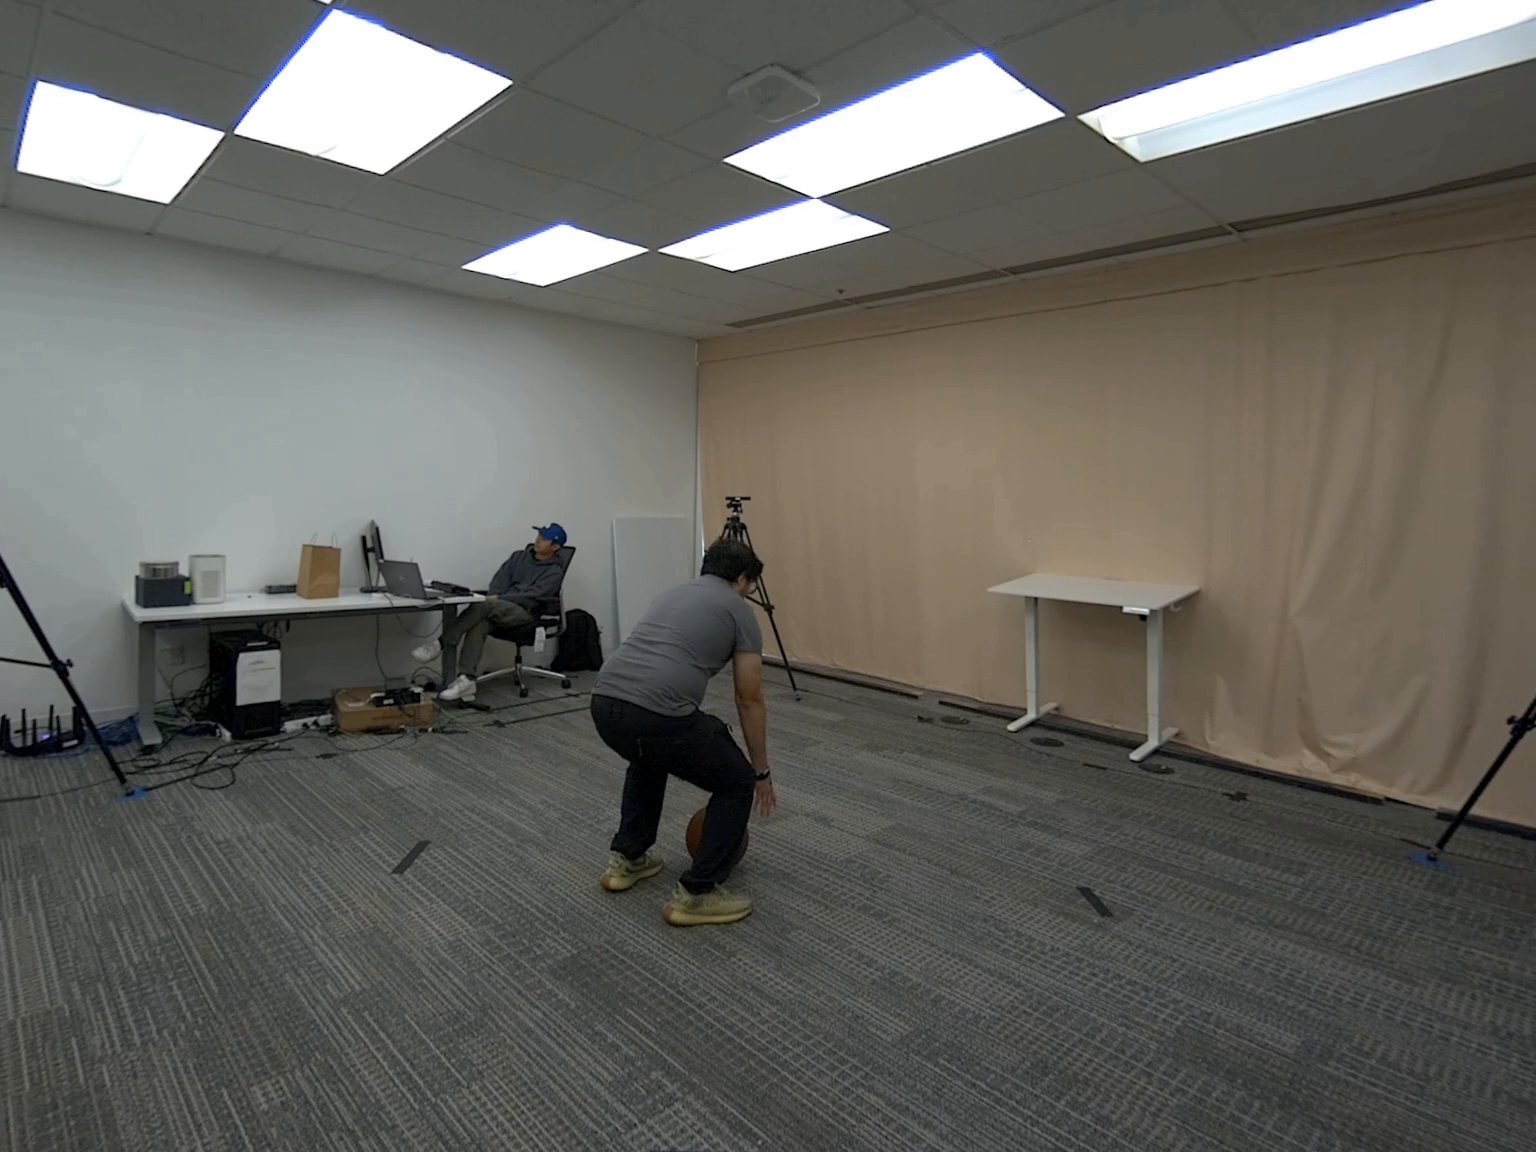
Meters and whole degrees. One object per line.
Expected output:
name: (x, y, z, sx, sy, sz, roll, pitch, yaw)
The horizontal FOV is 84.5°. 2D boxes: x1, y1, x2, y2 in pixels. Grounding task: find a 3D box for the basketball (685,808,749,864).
basketball: (-0.191, 0.982, 3.157, 0.236, 0.235, 0.237, 1, 4, -1)
